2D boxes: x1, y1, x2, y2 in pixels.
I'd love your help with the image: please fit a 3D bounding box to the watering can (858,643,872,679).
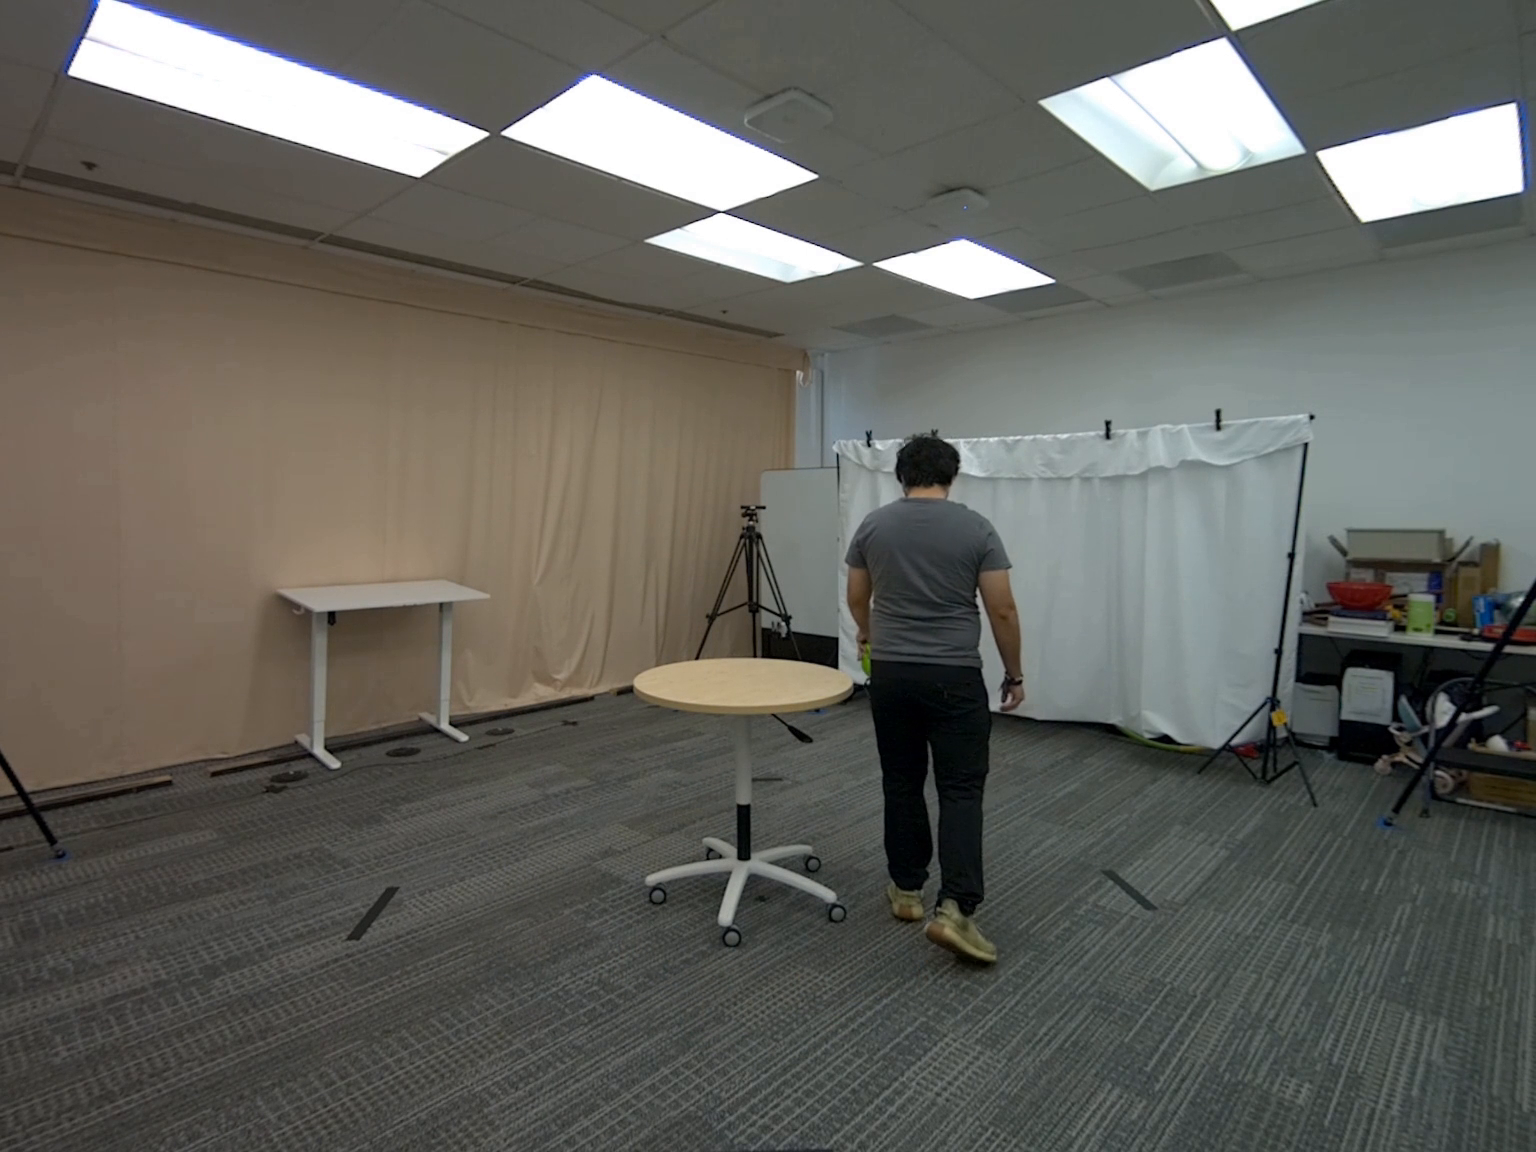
[{"bbox_3d":[0.448,0.373,3.217,0.269,0.098,0.183,49,1,-39],"label":"watering can"}]
